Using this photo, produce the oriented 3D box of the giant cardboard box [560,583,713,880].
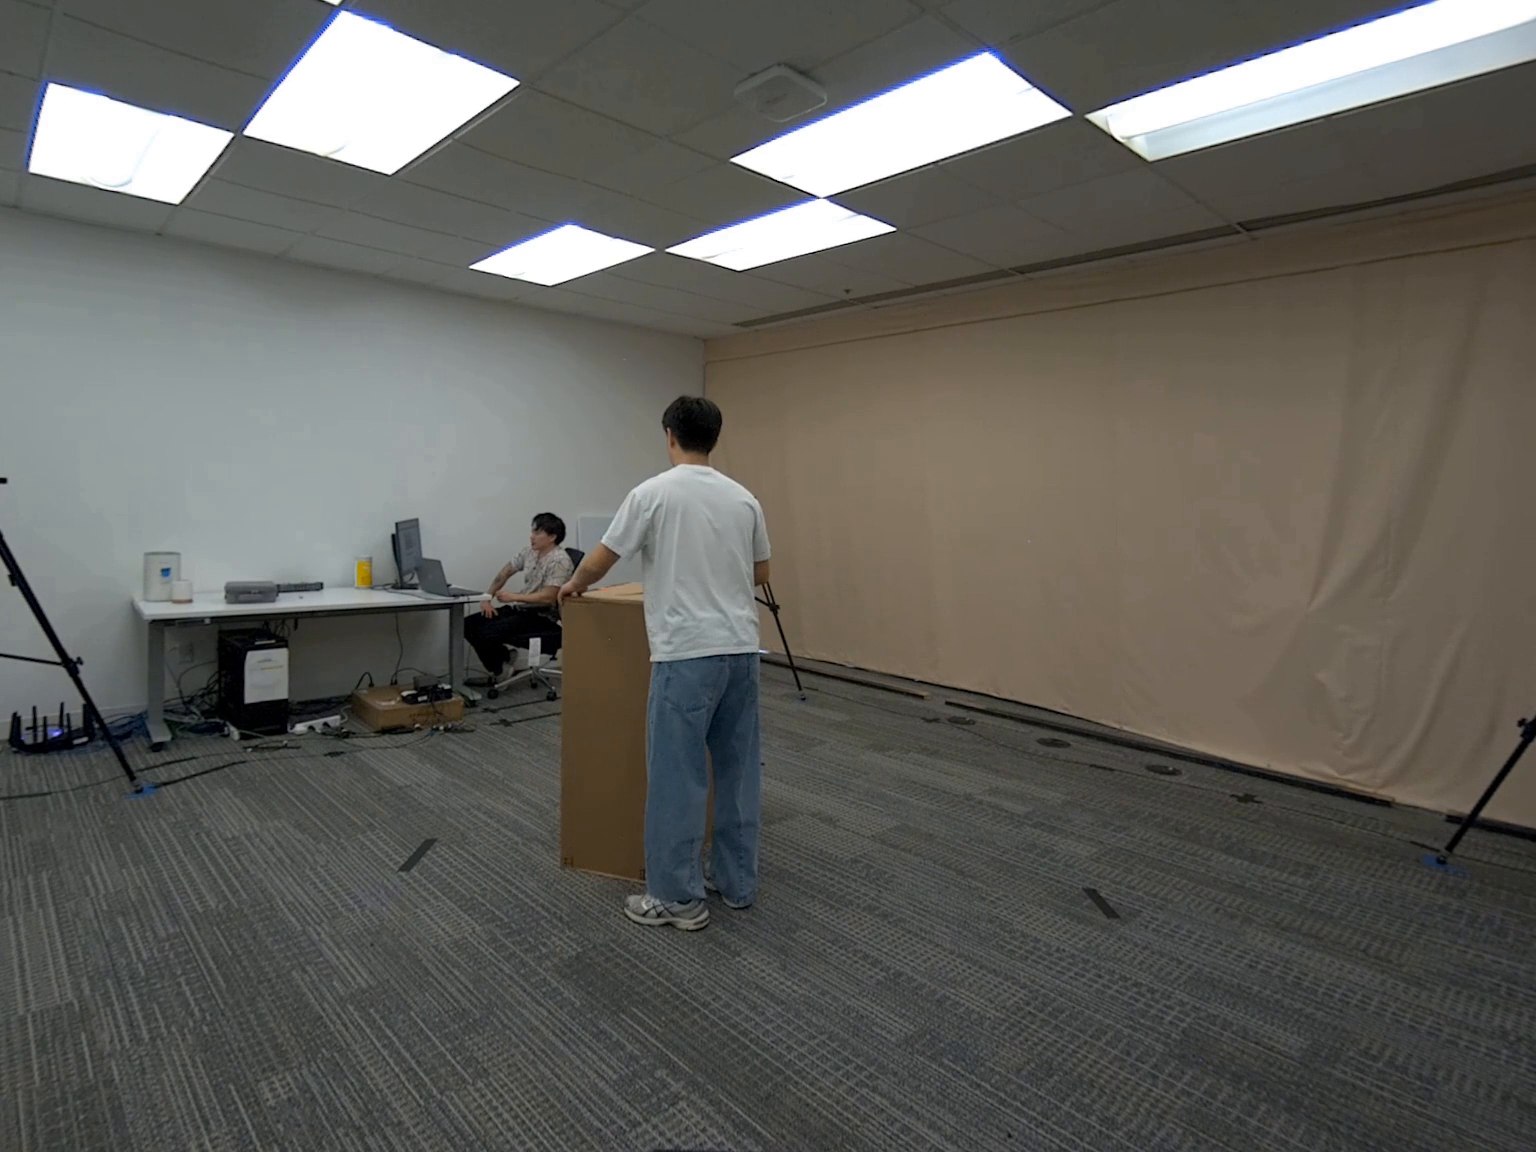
[{"bbox_3d":[-0.498,0.568,3.311,0.432,1.023,0.570,3,4,17],"label":"giant cardboard box"}]
